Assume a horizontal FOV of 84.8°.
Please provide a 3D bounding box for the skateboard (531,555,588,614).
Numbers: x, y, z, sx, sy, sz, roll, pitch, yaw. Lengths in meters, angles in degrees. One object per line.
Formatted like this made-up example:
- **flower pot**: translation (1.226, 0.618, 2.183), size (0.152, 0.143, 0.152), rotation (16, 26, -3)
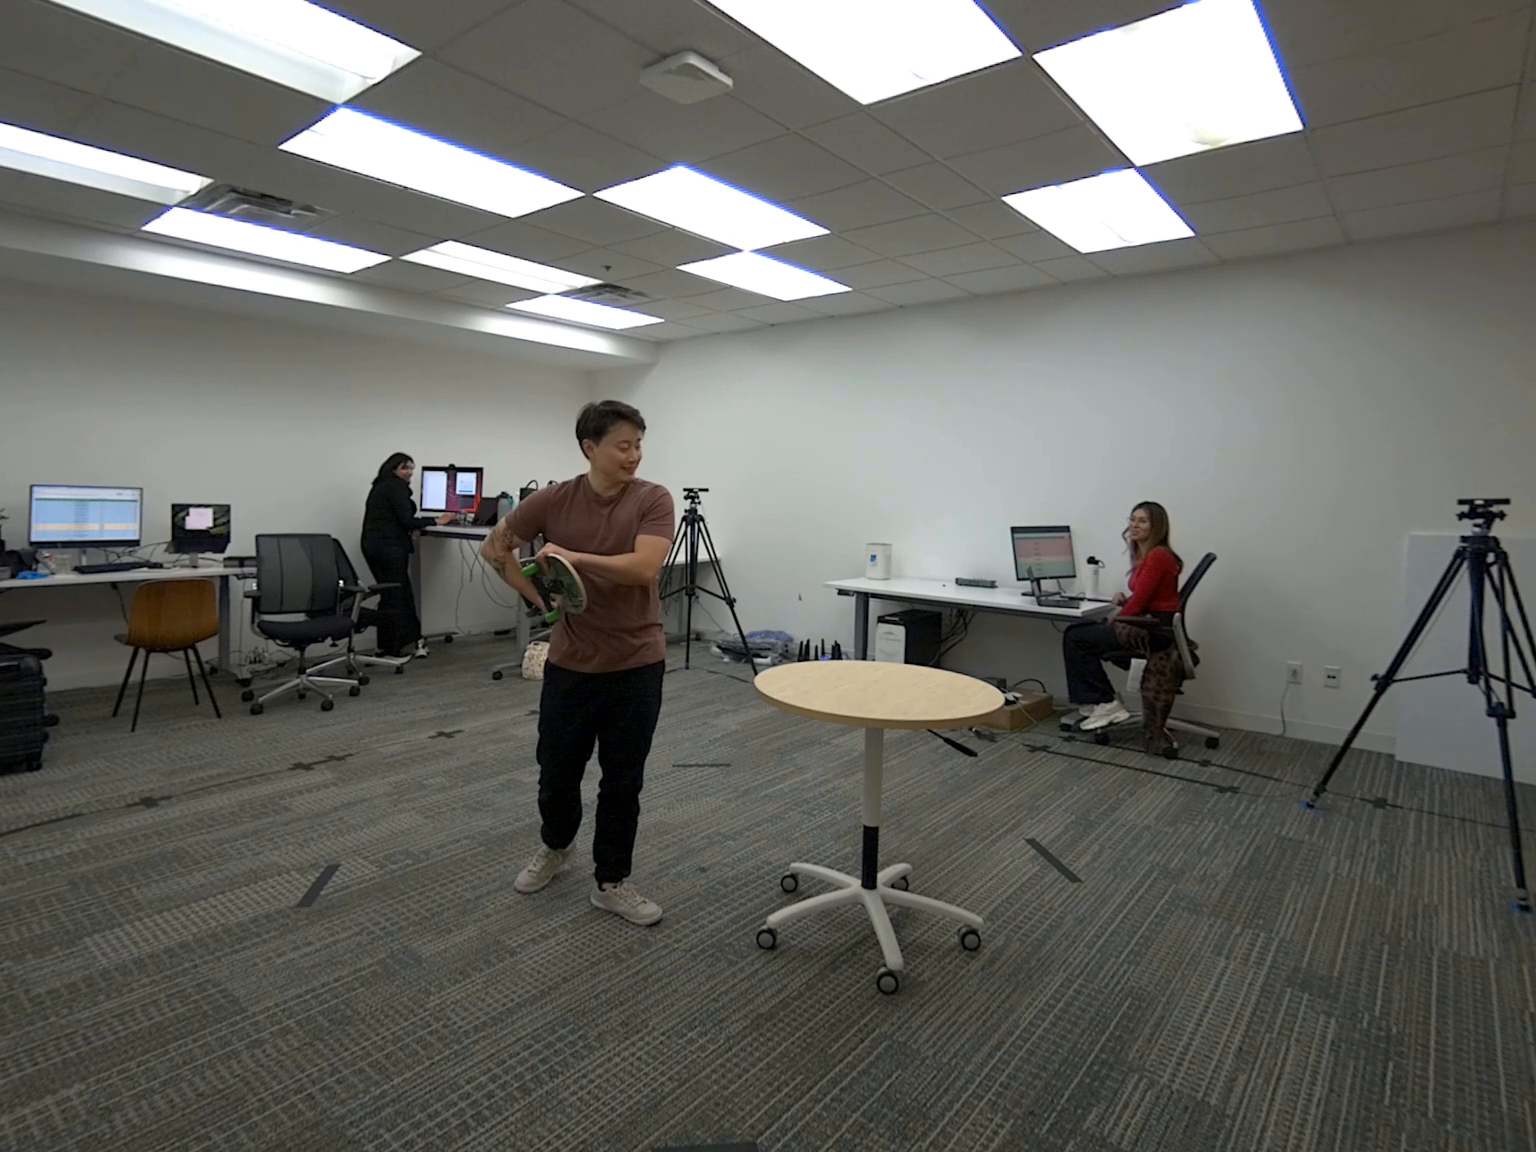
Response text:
- **skateboard**: translation (-0.758, 0.027, 2.735), size (0.109, 0.190, 0.804), rotation (-29, 14, -22)
